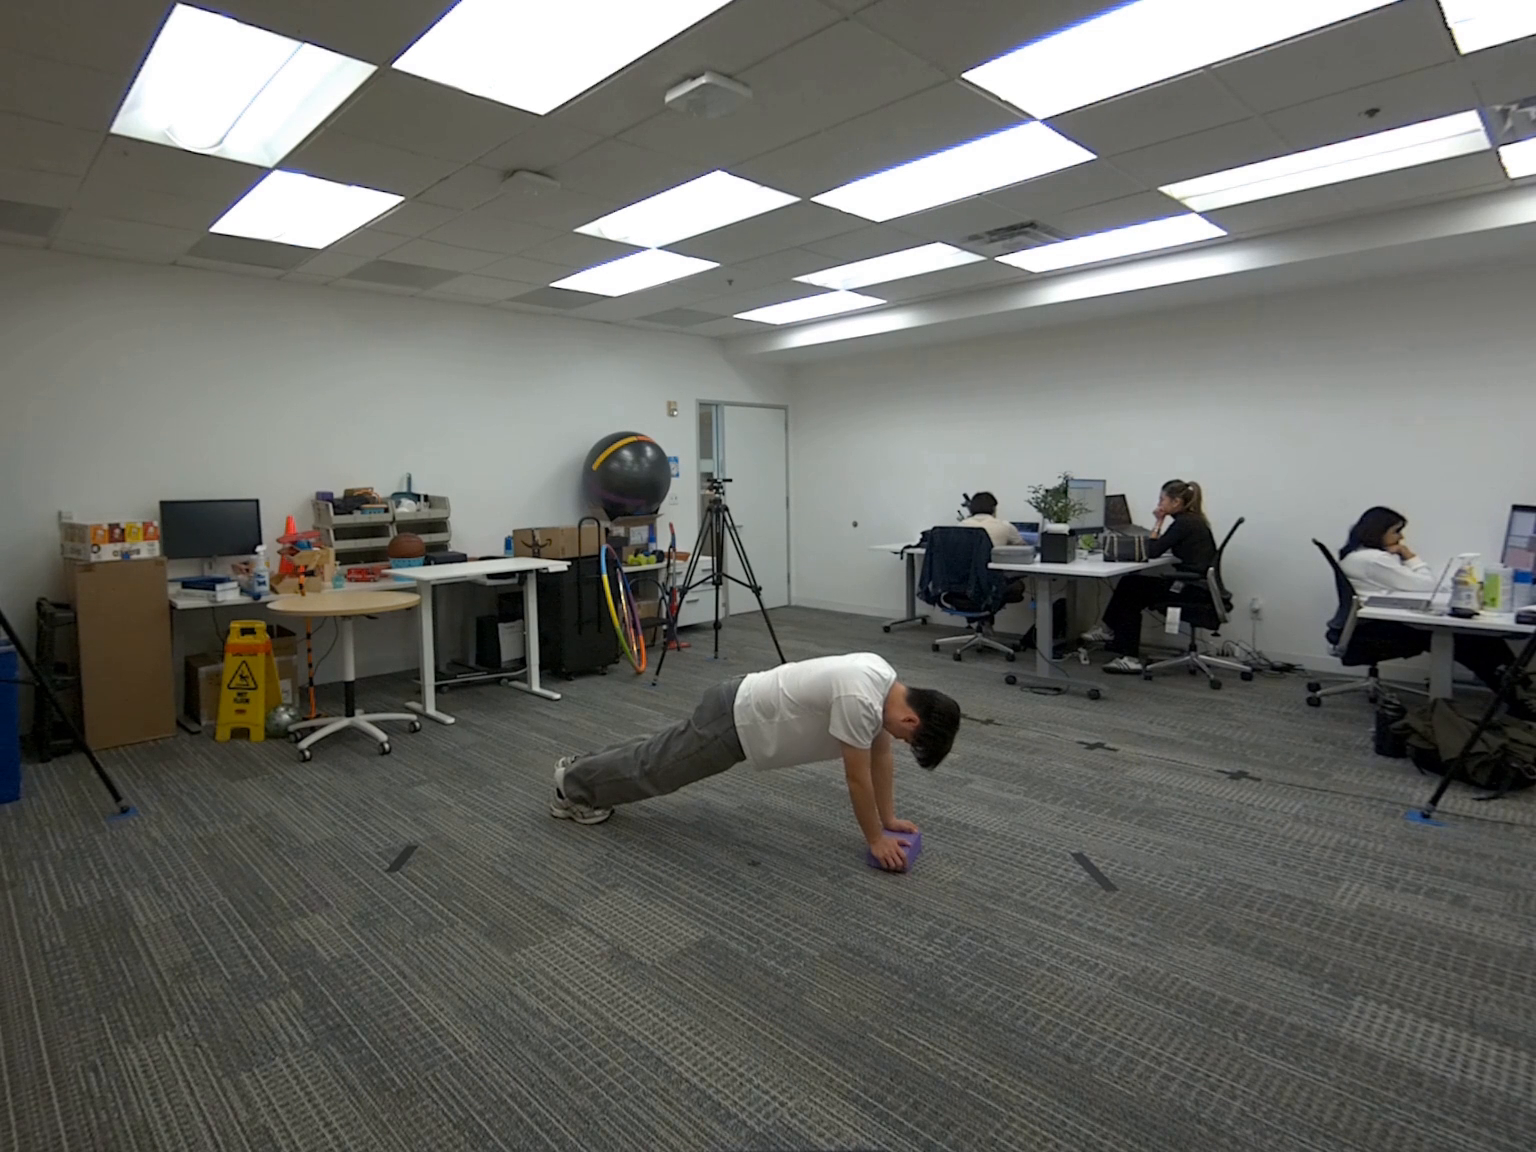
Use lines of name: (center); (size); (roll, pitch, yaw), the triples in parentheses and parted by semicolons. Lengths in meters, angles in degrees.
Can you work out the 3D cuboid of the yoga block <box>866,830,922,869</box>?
yoga block: (0.468, 1.001, 3.136); (0.153, 0.076, 0.225); (3, 7, 26)
